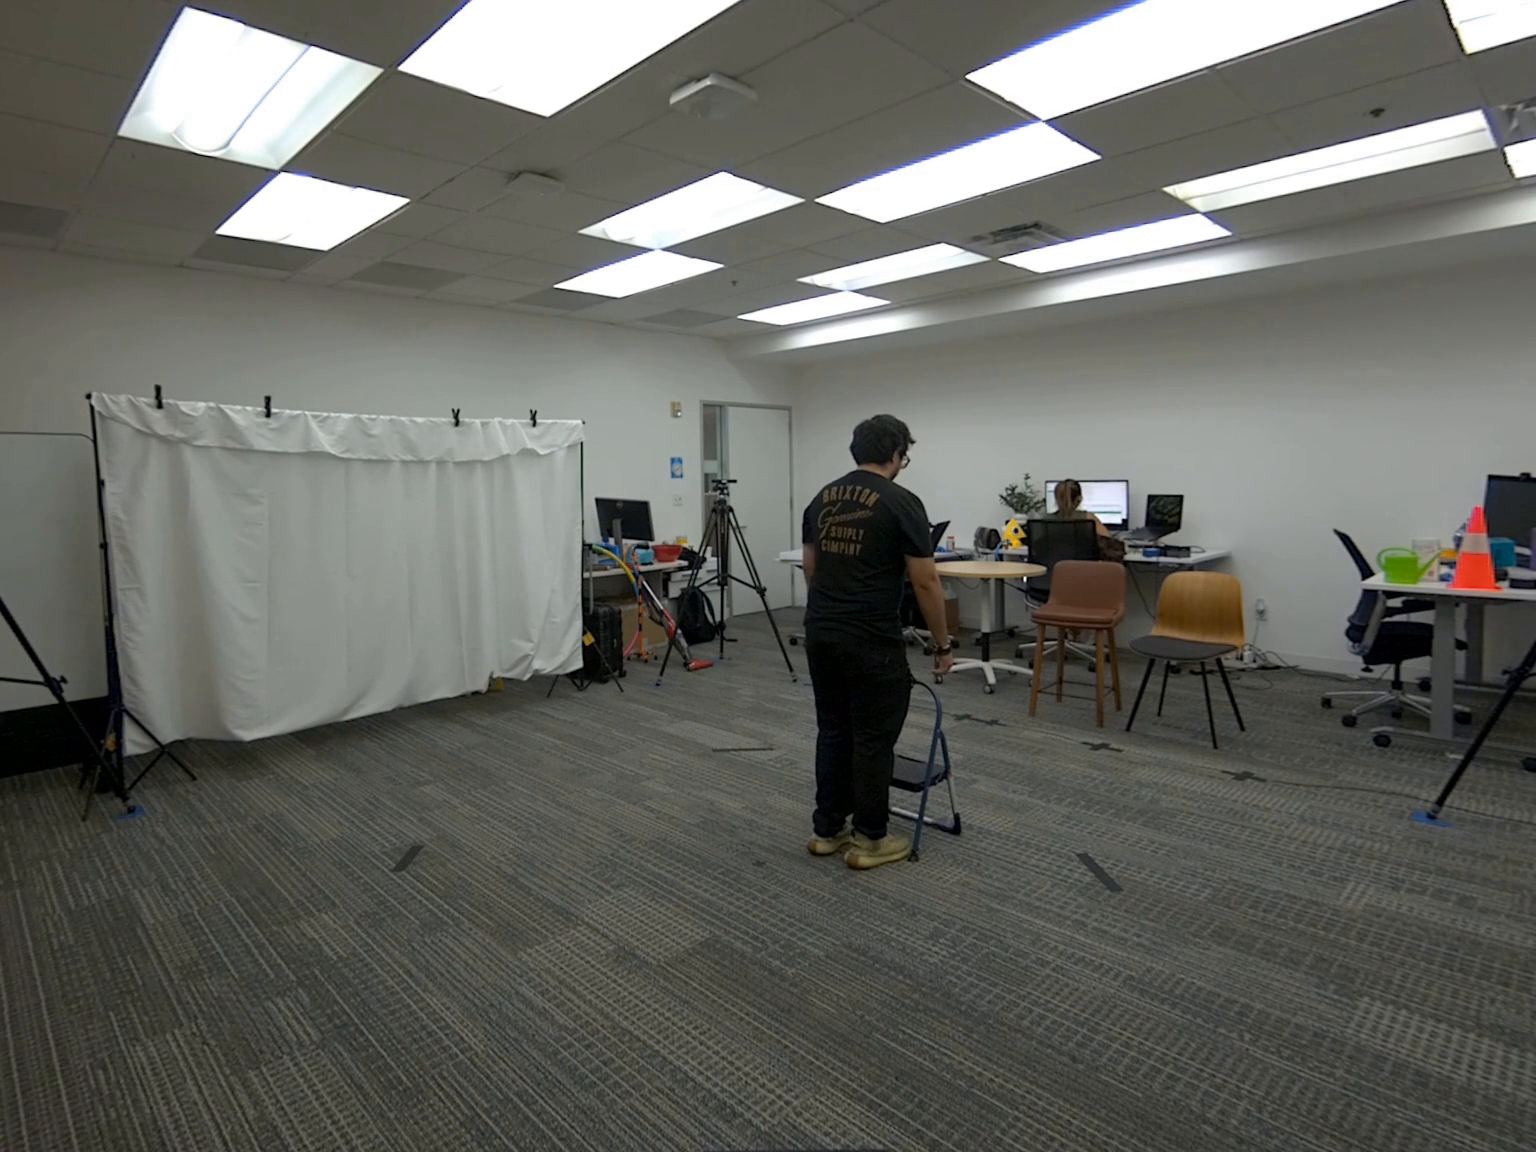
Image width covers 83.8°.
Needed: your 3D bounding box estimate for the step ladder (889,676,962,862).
[{"bbox_3d":[0.496,0.708,3.357,0.444,0.604,0.340,4,6,44],"label":"step ladder"}]
